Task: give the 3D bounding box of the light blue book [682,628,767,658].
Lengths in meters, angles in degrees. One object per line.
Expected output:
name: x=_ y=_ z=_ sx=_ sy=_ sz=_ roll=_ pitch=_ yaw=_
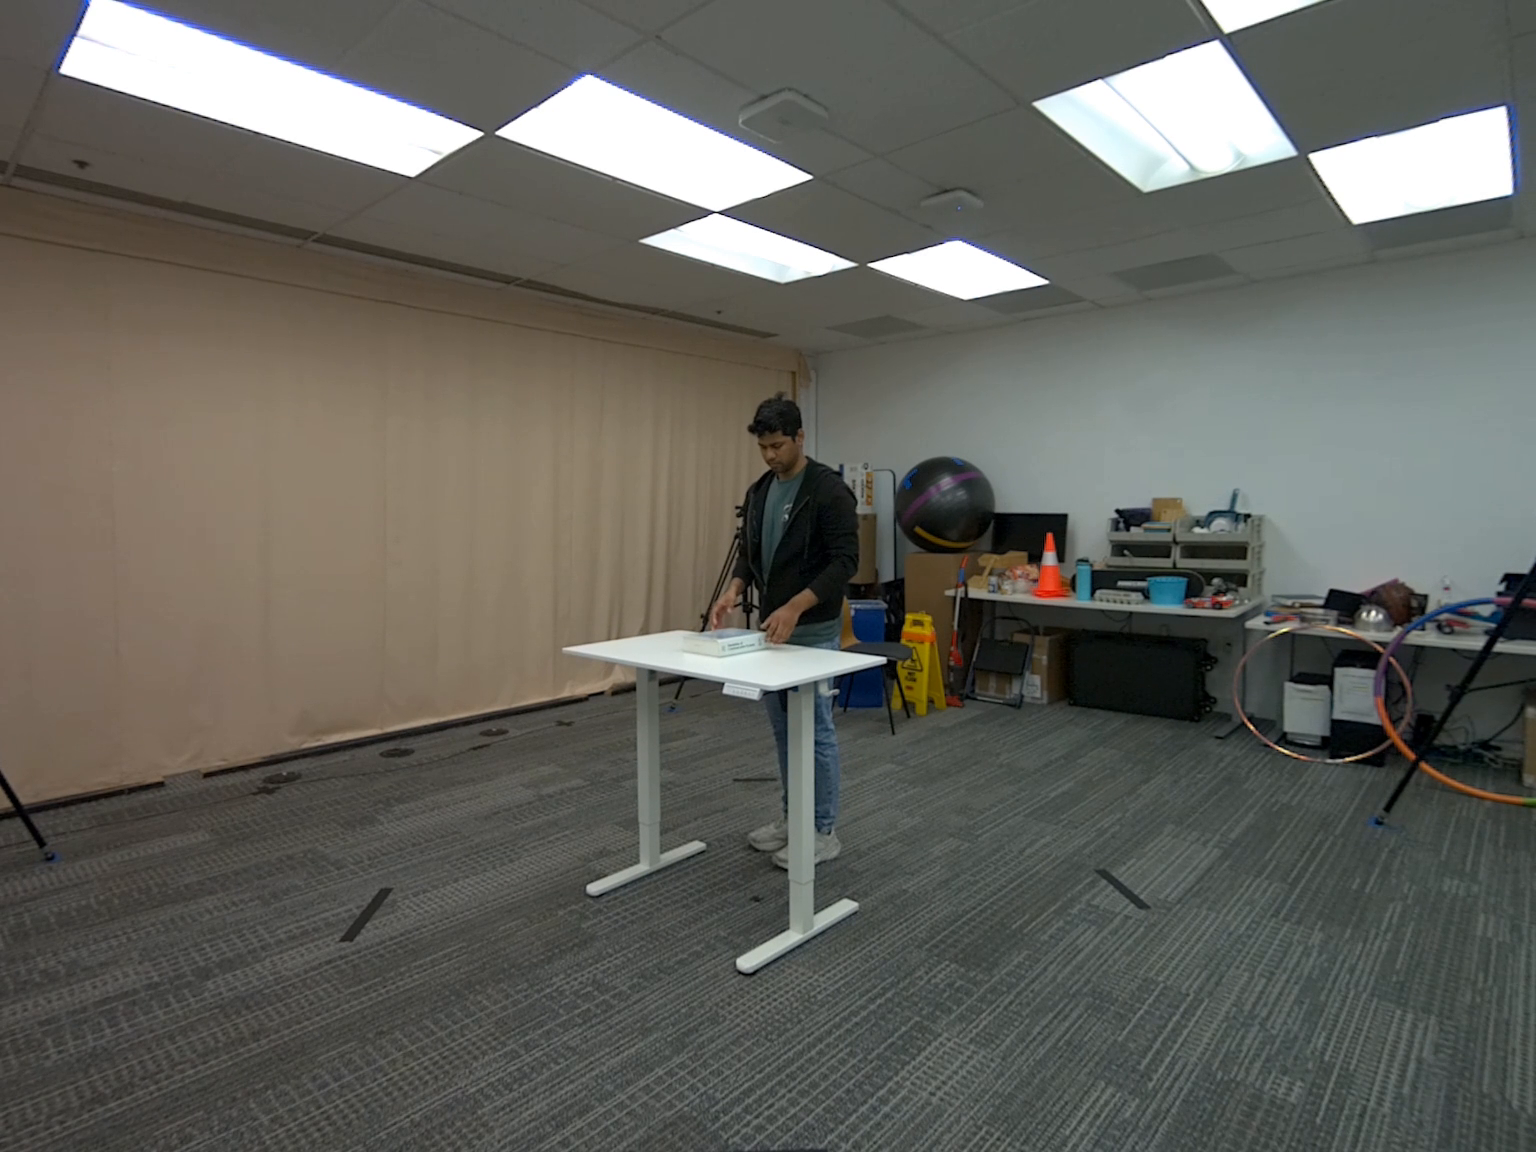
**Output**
light blue book: x=-0.155 y=0.237 z=2.995 sx=0.198 sy=0.059 sz=0.253 roll=4 pitch=6 yaw=42
